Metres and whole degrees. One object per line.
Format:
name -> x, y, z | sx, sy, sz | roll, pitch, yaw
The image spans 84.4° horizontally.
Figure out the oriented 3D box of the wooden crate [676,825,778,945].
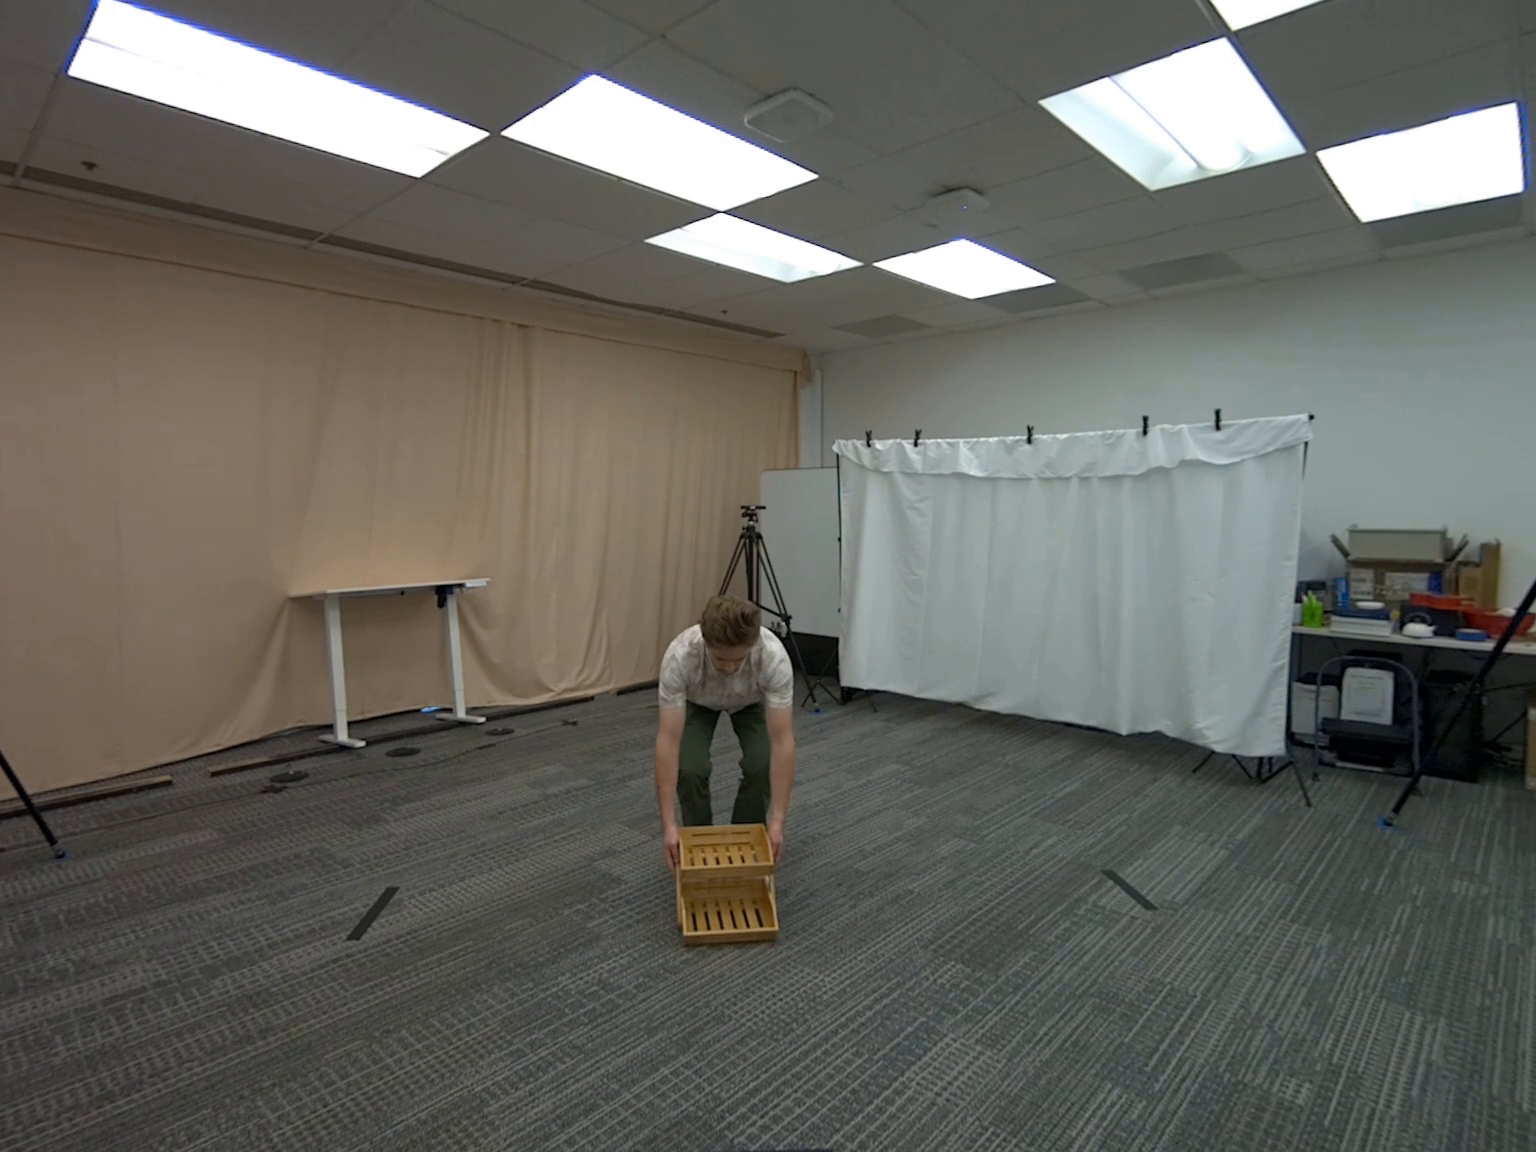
wooden crate -> -0.134, 1.008, 2.781 | 0.322, 0.272, 0.305 | 1, 7, -7
